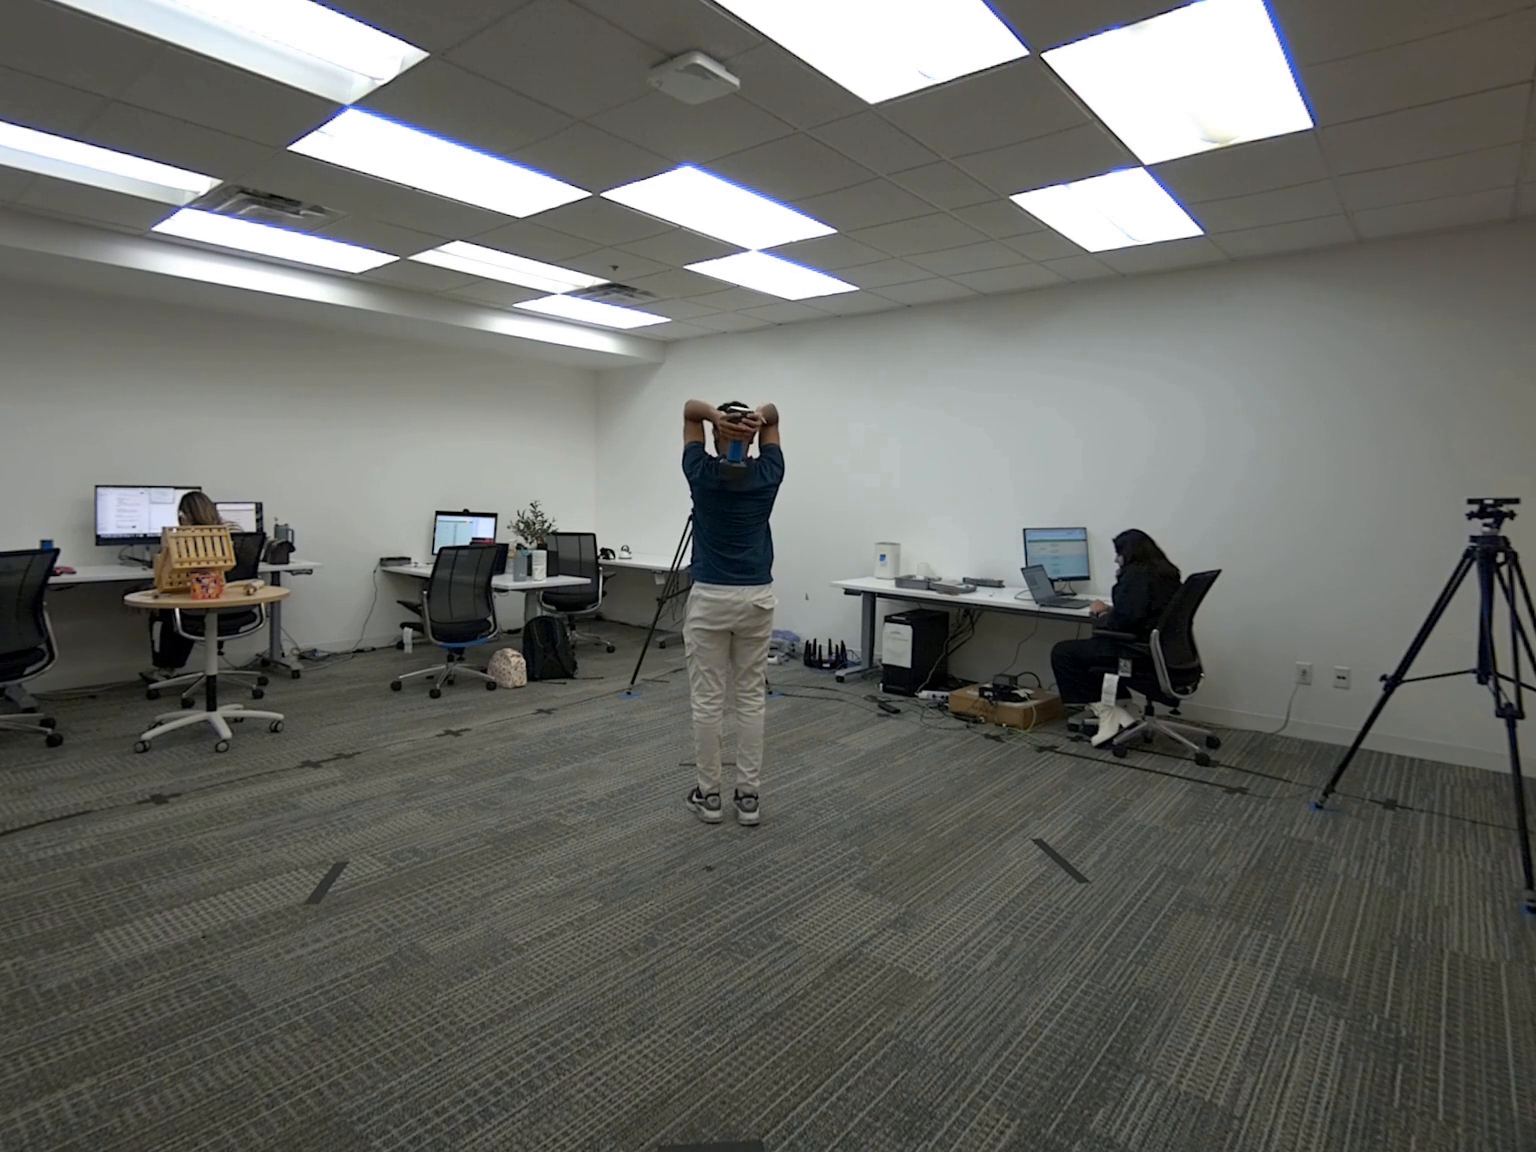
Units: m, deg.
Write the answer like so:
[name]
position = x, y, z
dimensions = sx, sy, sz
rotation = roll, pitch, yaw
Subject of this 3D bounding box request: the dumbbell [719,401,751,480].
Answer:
[dumbbell]
position = -0.132, -0.533, 3.389
dimensions = 0.108, 0.291, 0.124
rotation = 11, 12, -3
